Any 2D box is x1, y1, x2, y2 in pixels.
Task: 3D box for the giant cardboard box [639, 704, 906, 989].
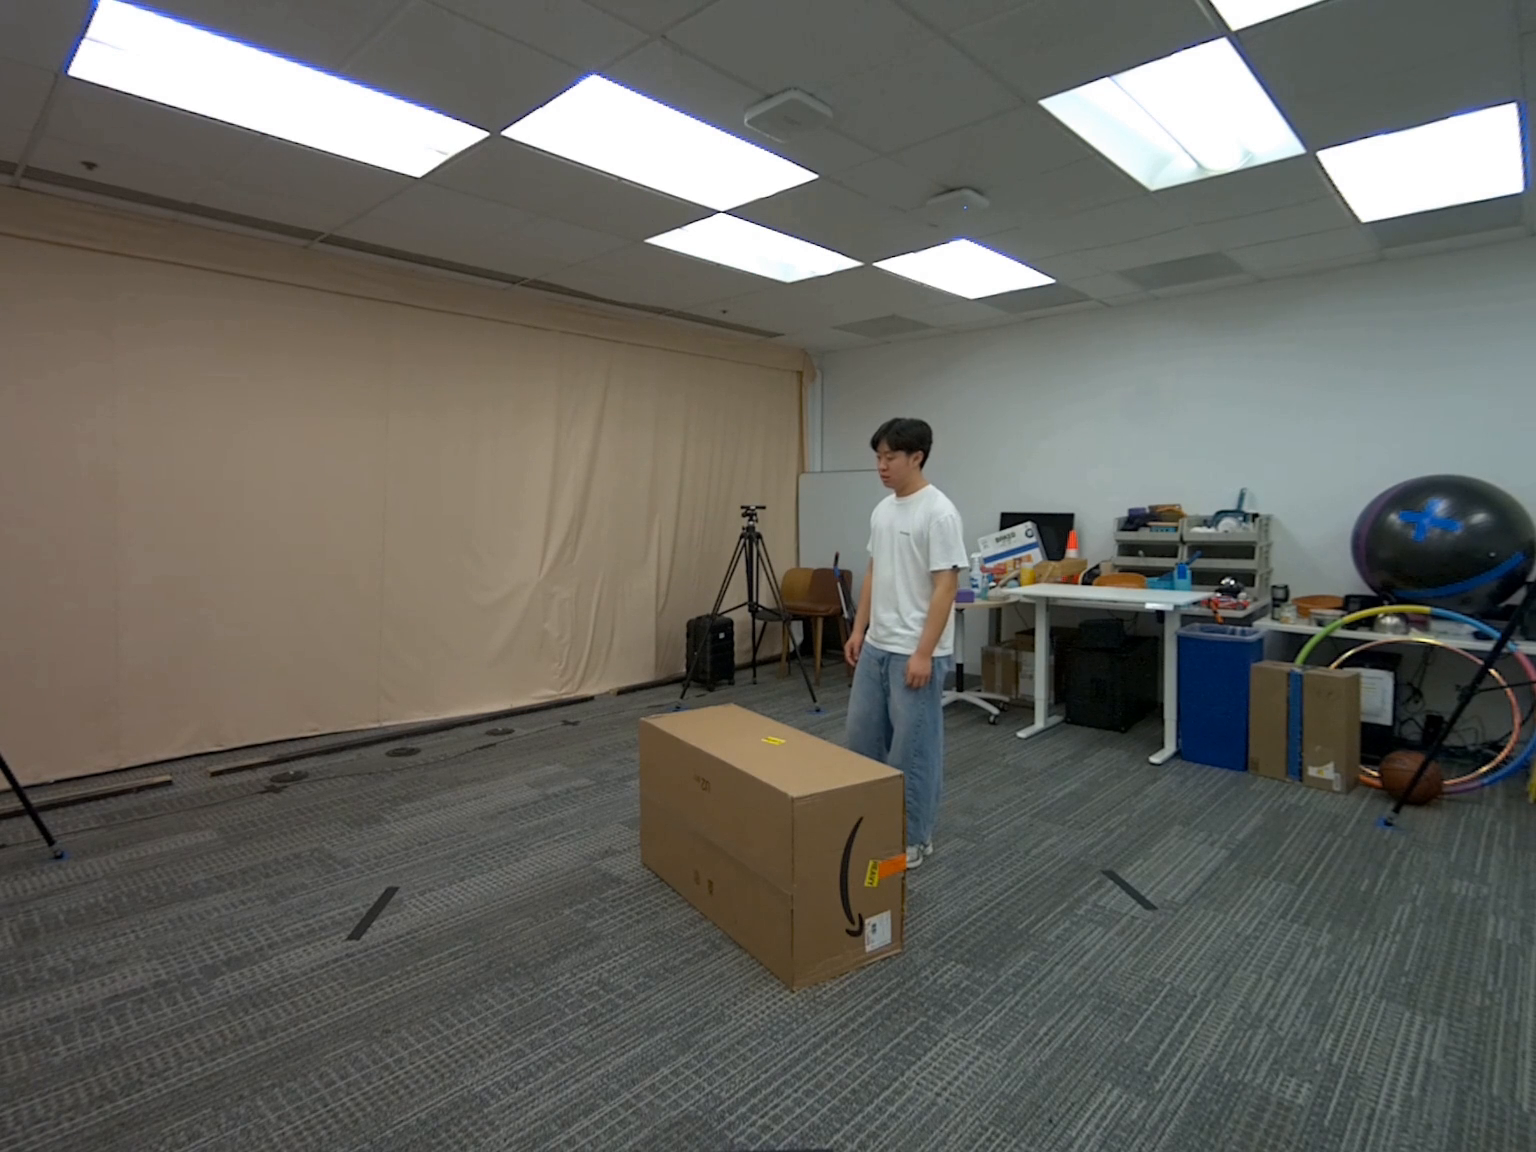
[{"bbox_3d":[-0.033,0.859,2.936,0.414,0.576,1.057,-3,5,-32],"label":"giant cardboard box"}]
